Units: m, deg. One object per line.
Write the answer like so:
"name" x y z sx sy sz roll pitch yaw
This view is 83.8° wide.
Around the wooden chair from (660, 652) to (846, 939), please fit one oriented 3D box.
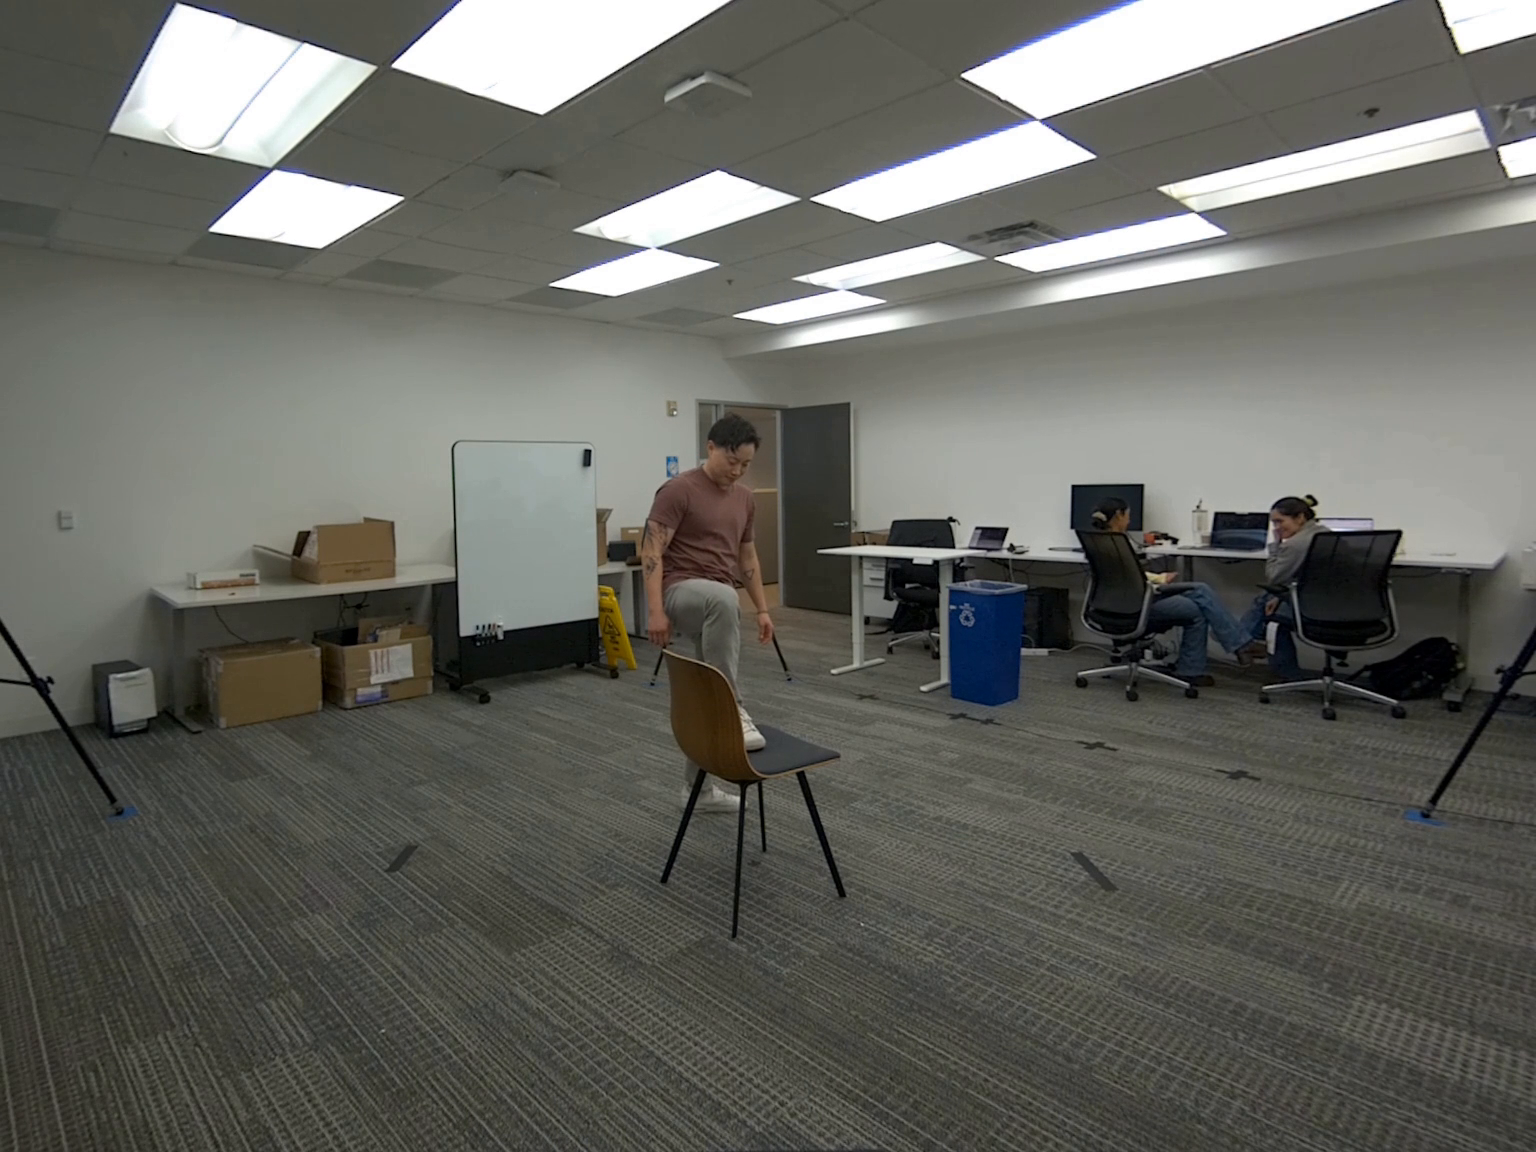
"wooden chair" -0.055 0.646 2.877 0.511 0.872 0.492 -9 8 -35
